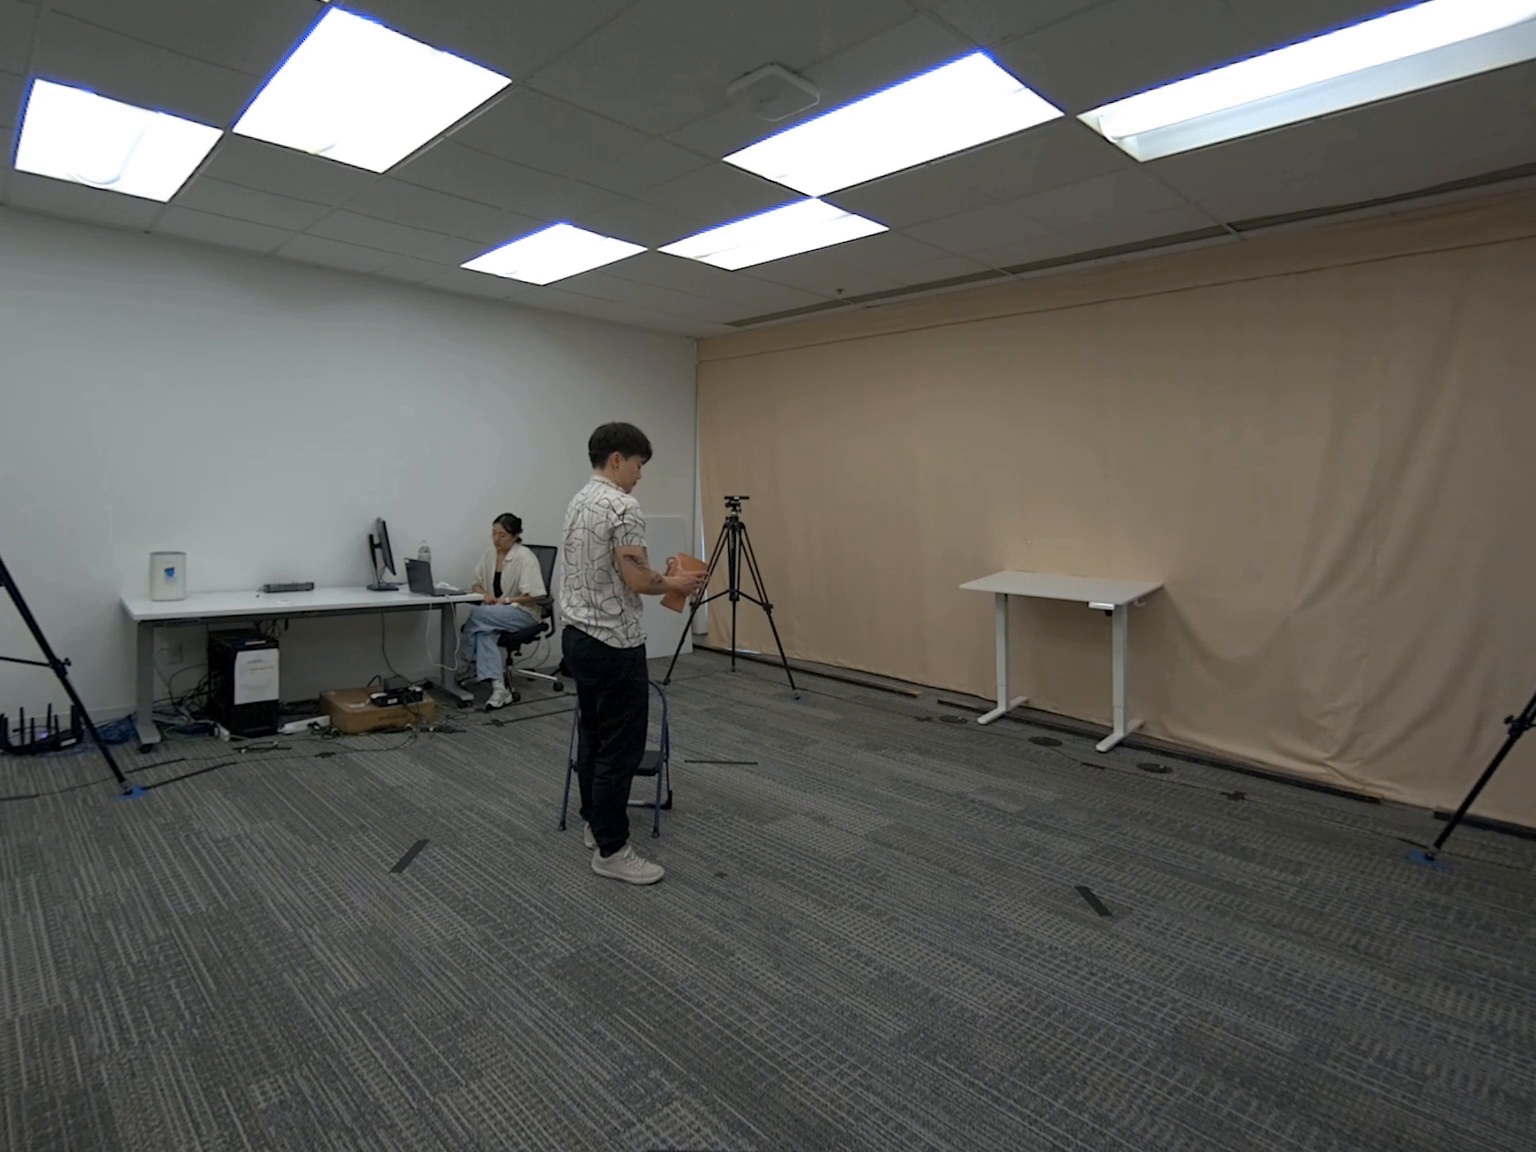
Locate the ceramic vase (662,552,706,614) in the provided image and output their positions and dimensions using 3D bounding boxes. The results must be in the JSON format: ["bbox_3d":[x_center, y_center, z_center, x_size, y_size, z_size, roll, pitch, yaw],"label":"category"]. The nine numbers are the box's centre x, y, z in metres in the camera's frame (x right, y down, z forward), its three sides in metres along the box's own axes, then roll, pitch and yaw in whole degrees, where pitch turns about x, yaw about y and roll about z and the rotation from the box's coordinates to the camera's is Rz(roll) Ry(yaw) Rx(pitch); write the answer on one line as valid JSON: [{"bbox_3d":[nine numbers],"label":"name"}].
[{"bbox_3d":[-0.352,0.031,3.364,0.162,0.220,0.131,22,-8,20],"label":"ceramic vase"}]
